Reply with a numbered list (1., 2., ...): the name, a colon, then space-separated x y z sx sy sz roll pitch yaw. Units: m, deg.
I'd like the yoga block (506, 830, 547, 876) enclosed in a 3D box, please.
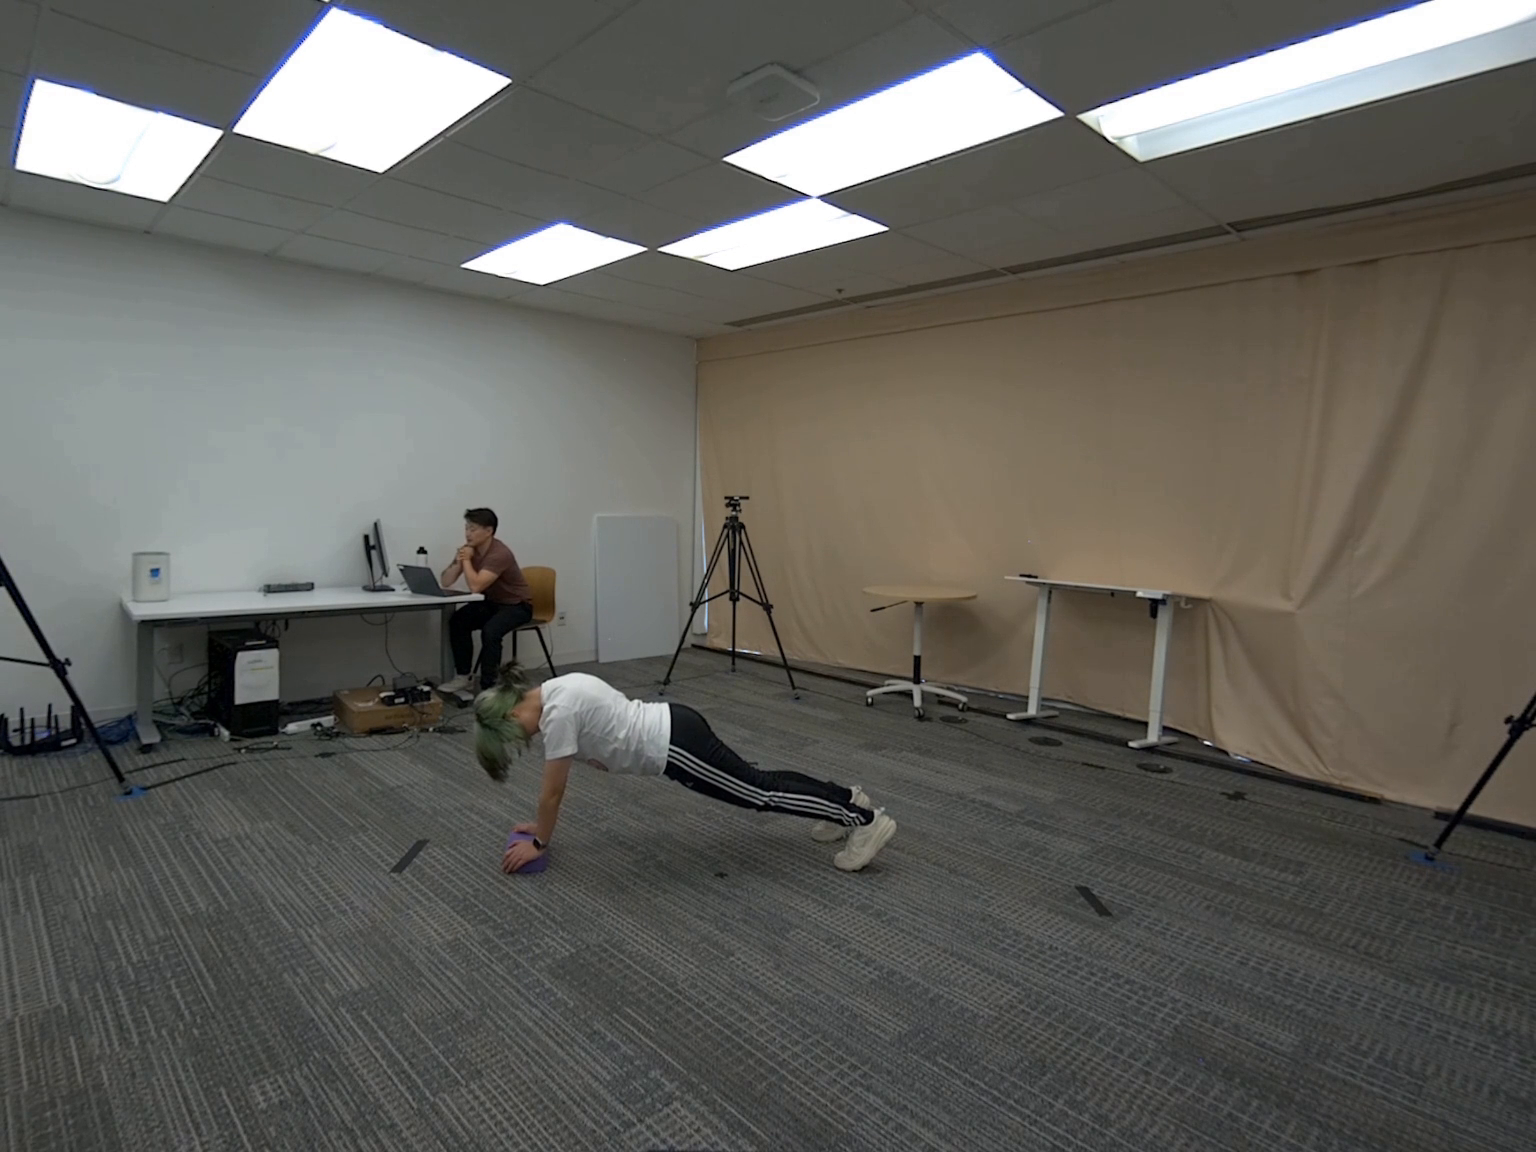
1. yoga block: -0.912 1.039 3.197 0.148 0.076 0.232 0 7 -9
